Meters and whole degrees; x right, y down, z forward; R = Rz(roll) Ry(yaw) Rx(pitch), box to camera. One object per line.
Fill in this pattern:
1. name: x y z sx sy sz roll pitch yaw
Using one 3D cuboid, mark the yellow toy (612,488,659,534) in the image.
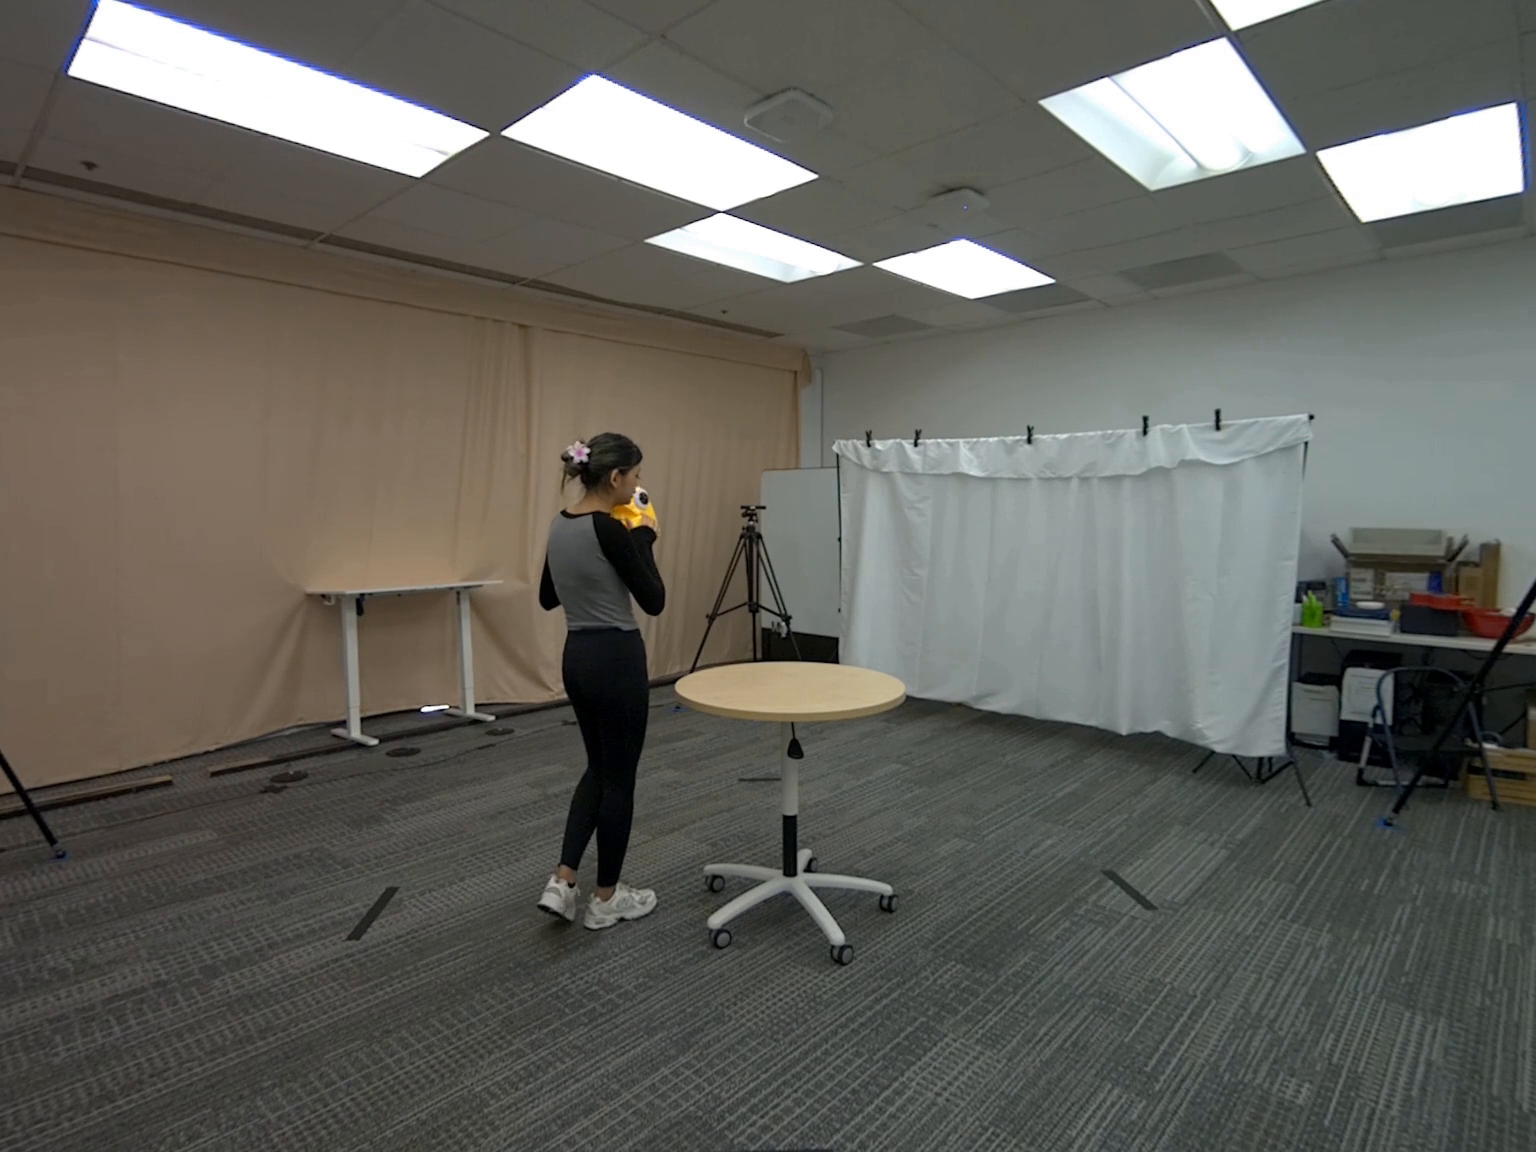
1. yellow toy: -0.481 -0.250 3.036 0.189 0.233 0.207 13 -19 -18
